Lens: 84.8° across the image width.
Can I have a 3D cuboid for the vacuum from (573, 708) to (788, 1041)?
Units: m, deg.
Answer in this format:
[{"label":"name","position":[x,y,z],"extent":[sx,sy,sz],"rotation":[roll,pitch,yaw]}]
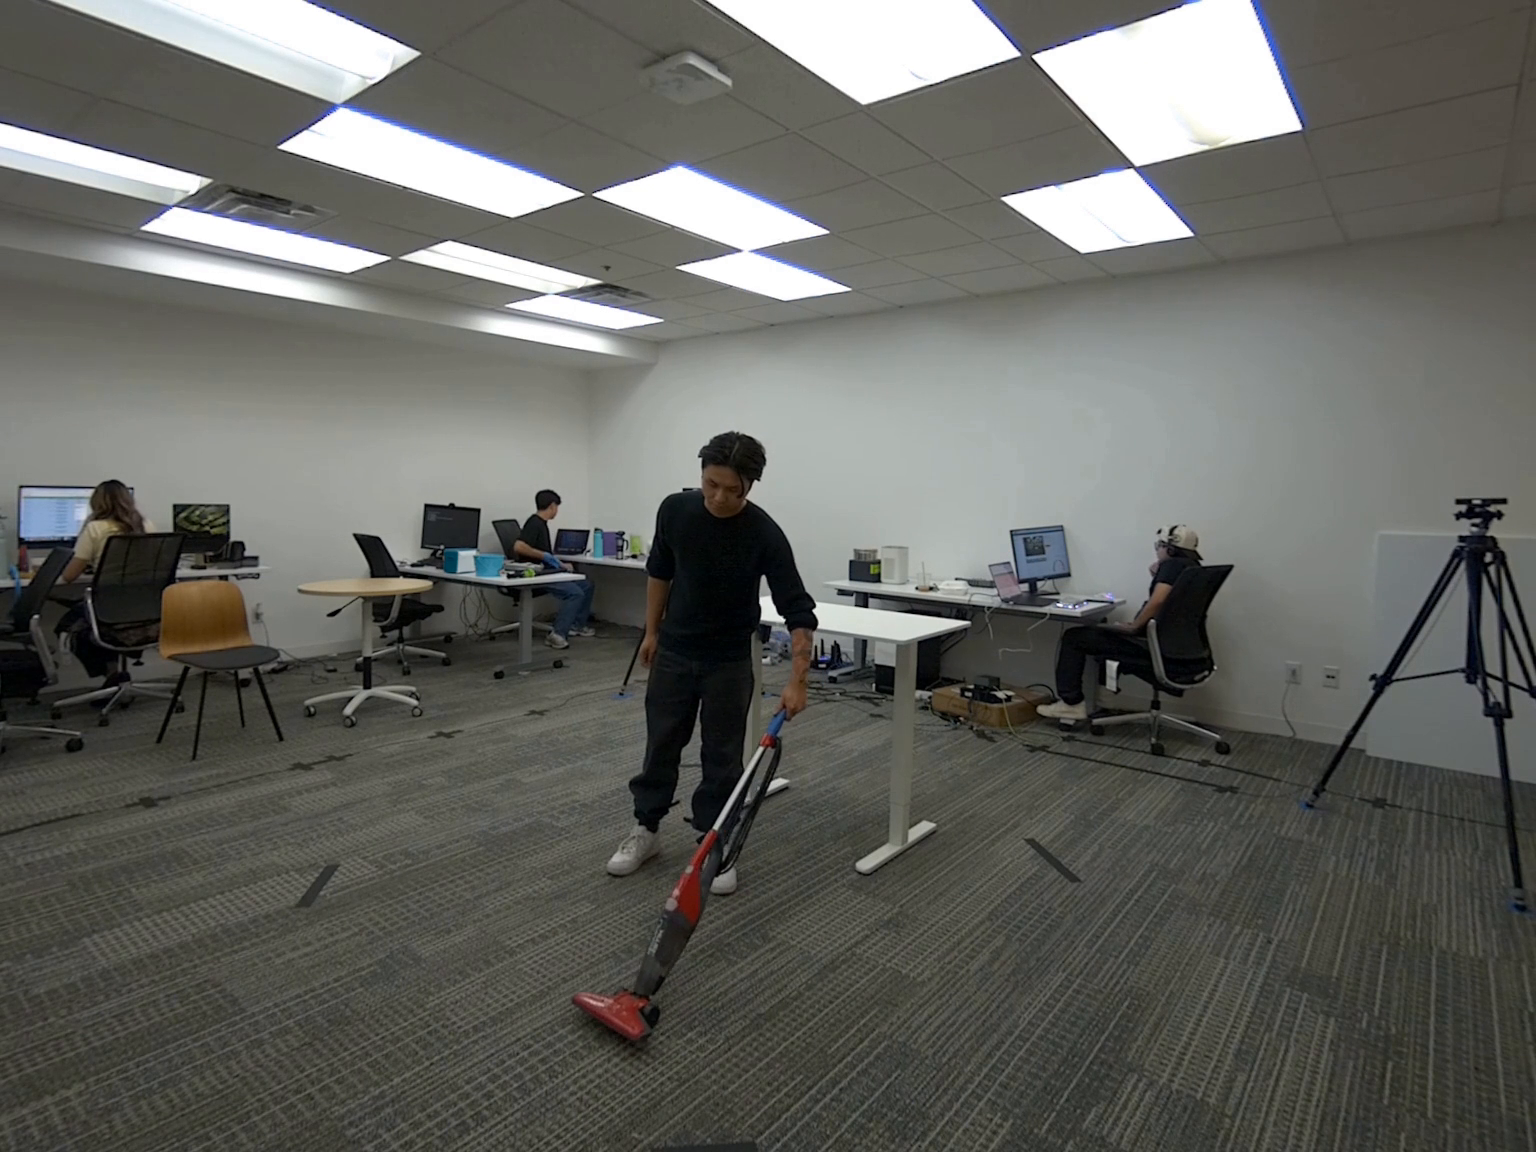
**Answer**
[{"label":"vacuum","position":[-0.143,0.768,2.478],"extent":[0.261,0.138,1.055],"rotation":[8,49,33]}]
